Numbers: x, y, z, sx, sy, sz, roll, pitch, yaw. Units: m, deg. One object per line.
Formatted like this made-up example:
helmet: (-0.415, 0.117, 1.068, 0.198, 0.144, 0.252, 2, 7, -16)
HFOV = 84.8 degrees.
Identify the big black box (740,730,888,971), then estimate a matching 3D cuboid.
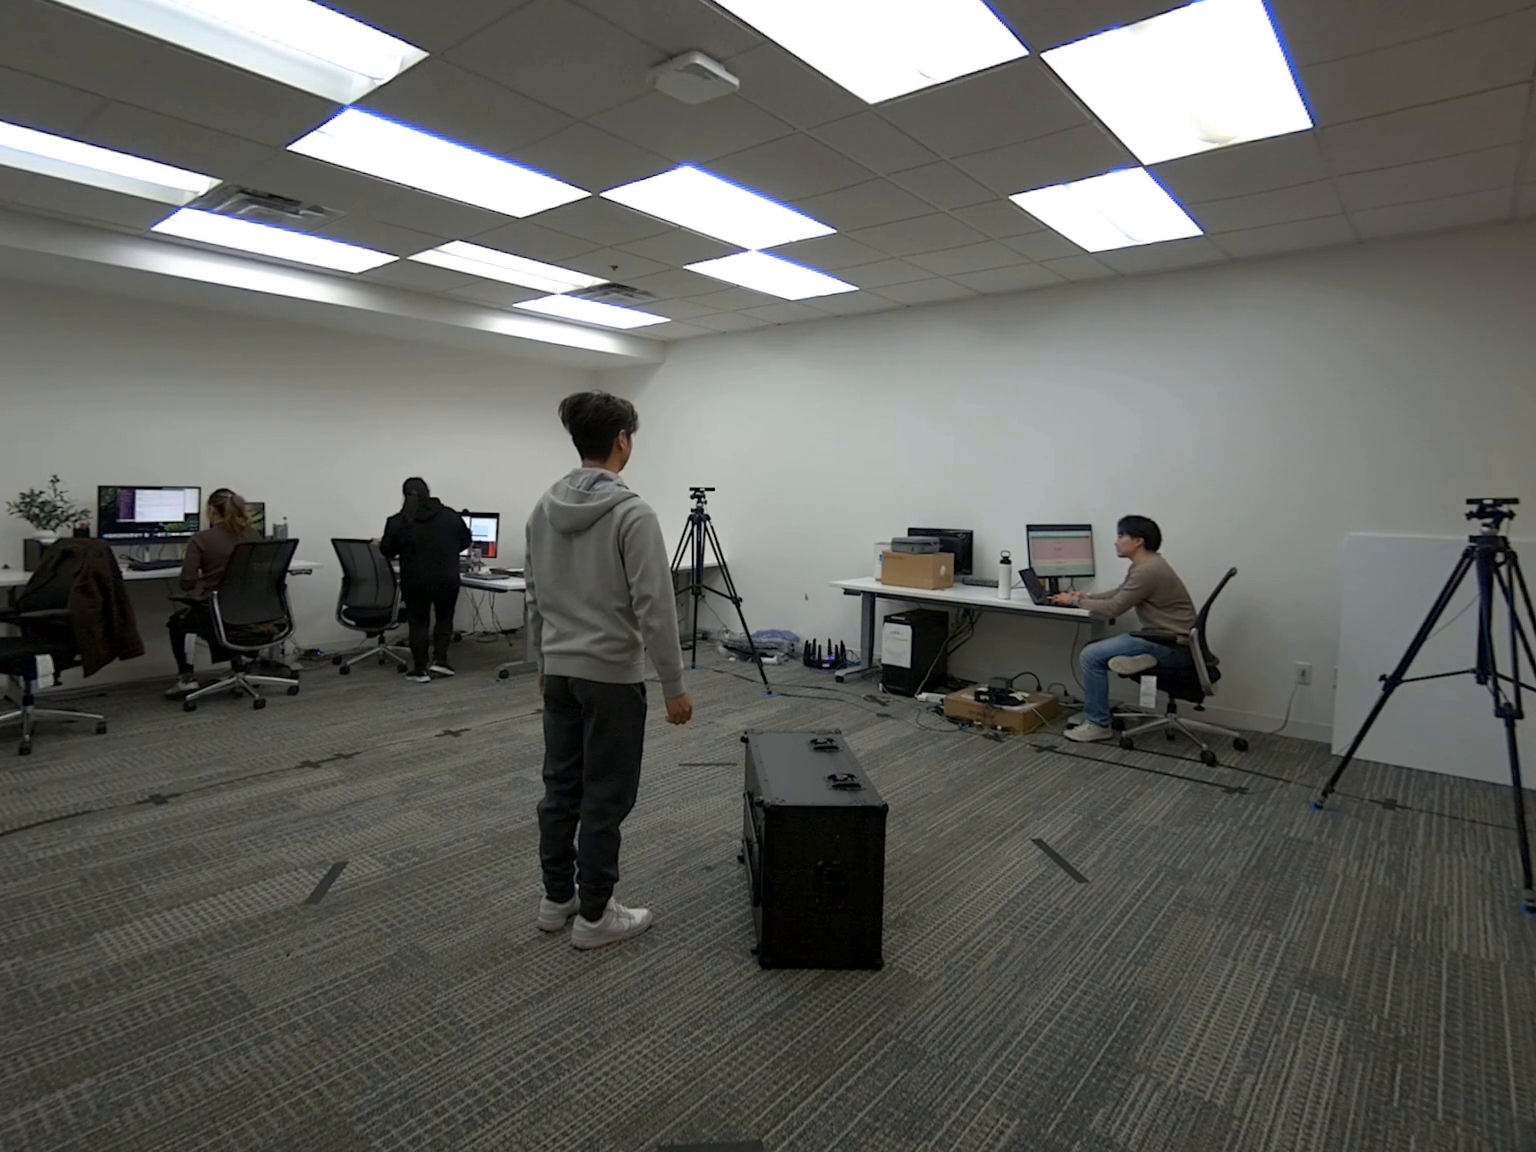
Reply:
big black box: (0.101, 0.852, 2.871, 0.395, 0.519, 0.868, 1, 5, -4)
